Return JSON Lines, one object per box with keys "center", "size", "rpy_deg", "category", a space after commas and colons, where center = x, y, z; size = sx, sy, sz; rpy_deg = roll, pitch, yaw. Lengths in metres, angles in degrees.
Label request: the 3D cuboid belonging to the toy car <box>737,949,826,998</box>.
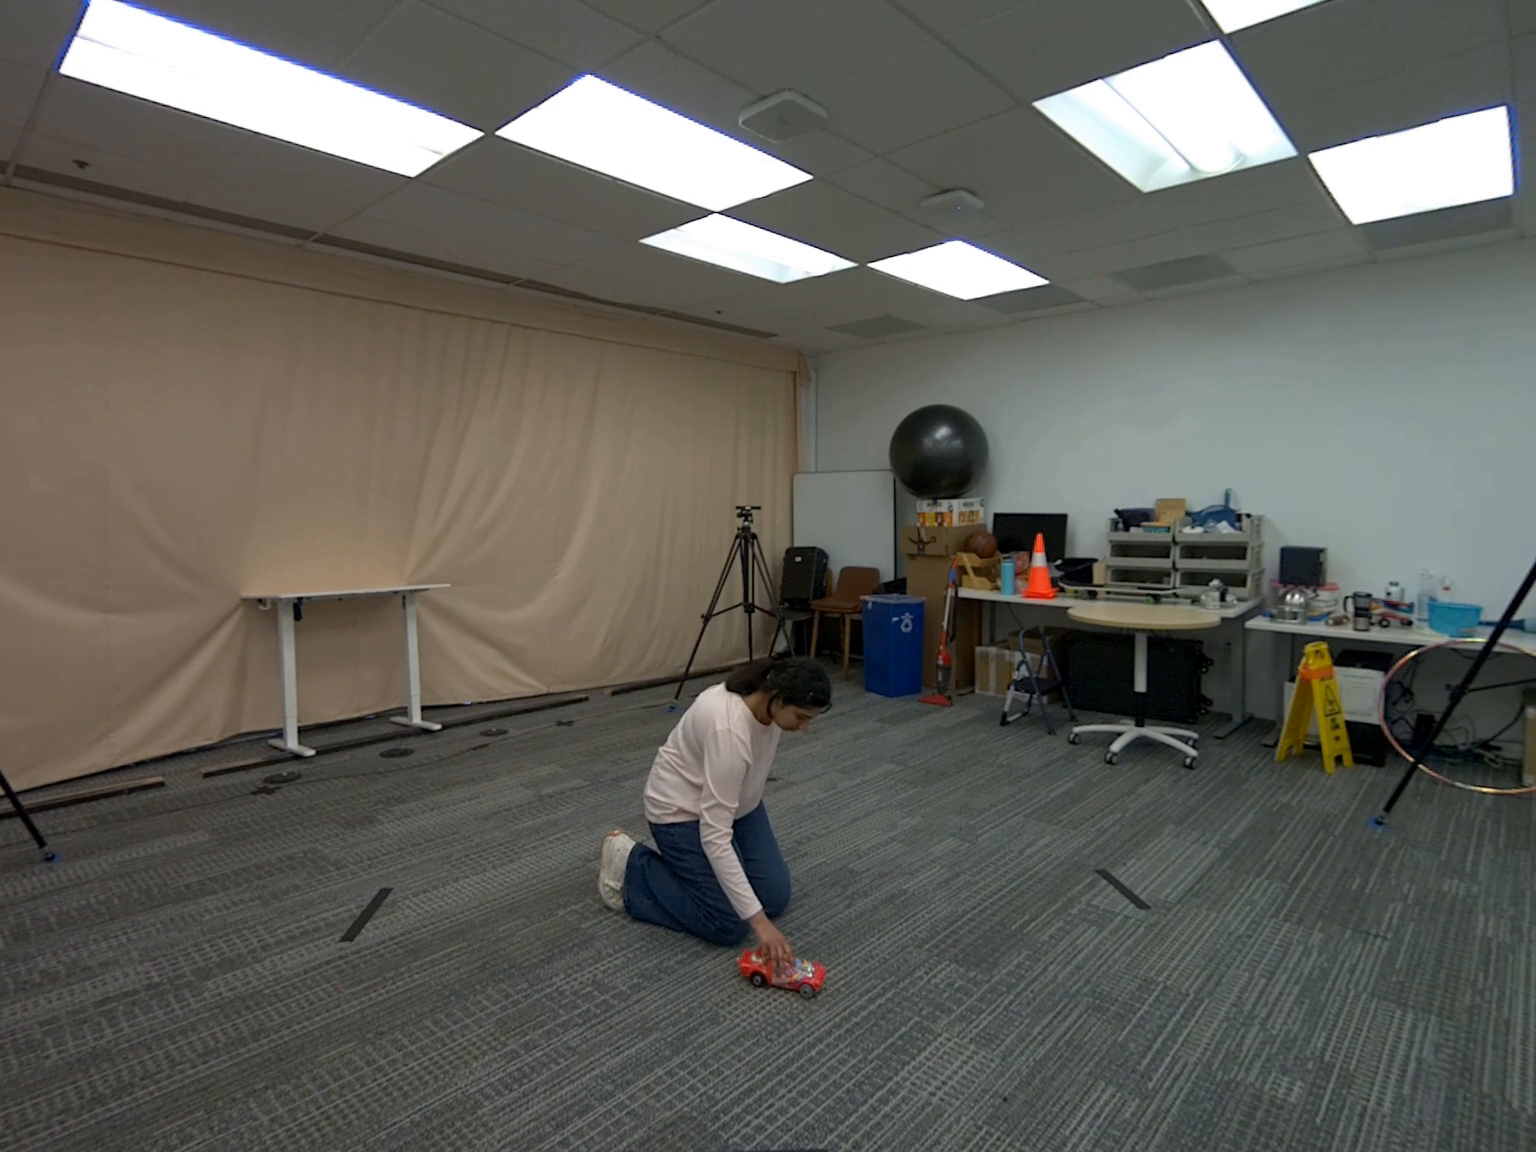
{"center": [0.042, 1.159, 2.458], "size": [0.260, 0.083, 0.128], "rpy_deg": [12, 8, 19], "category": "toy car"}
